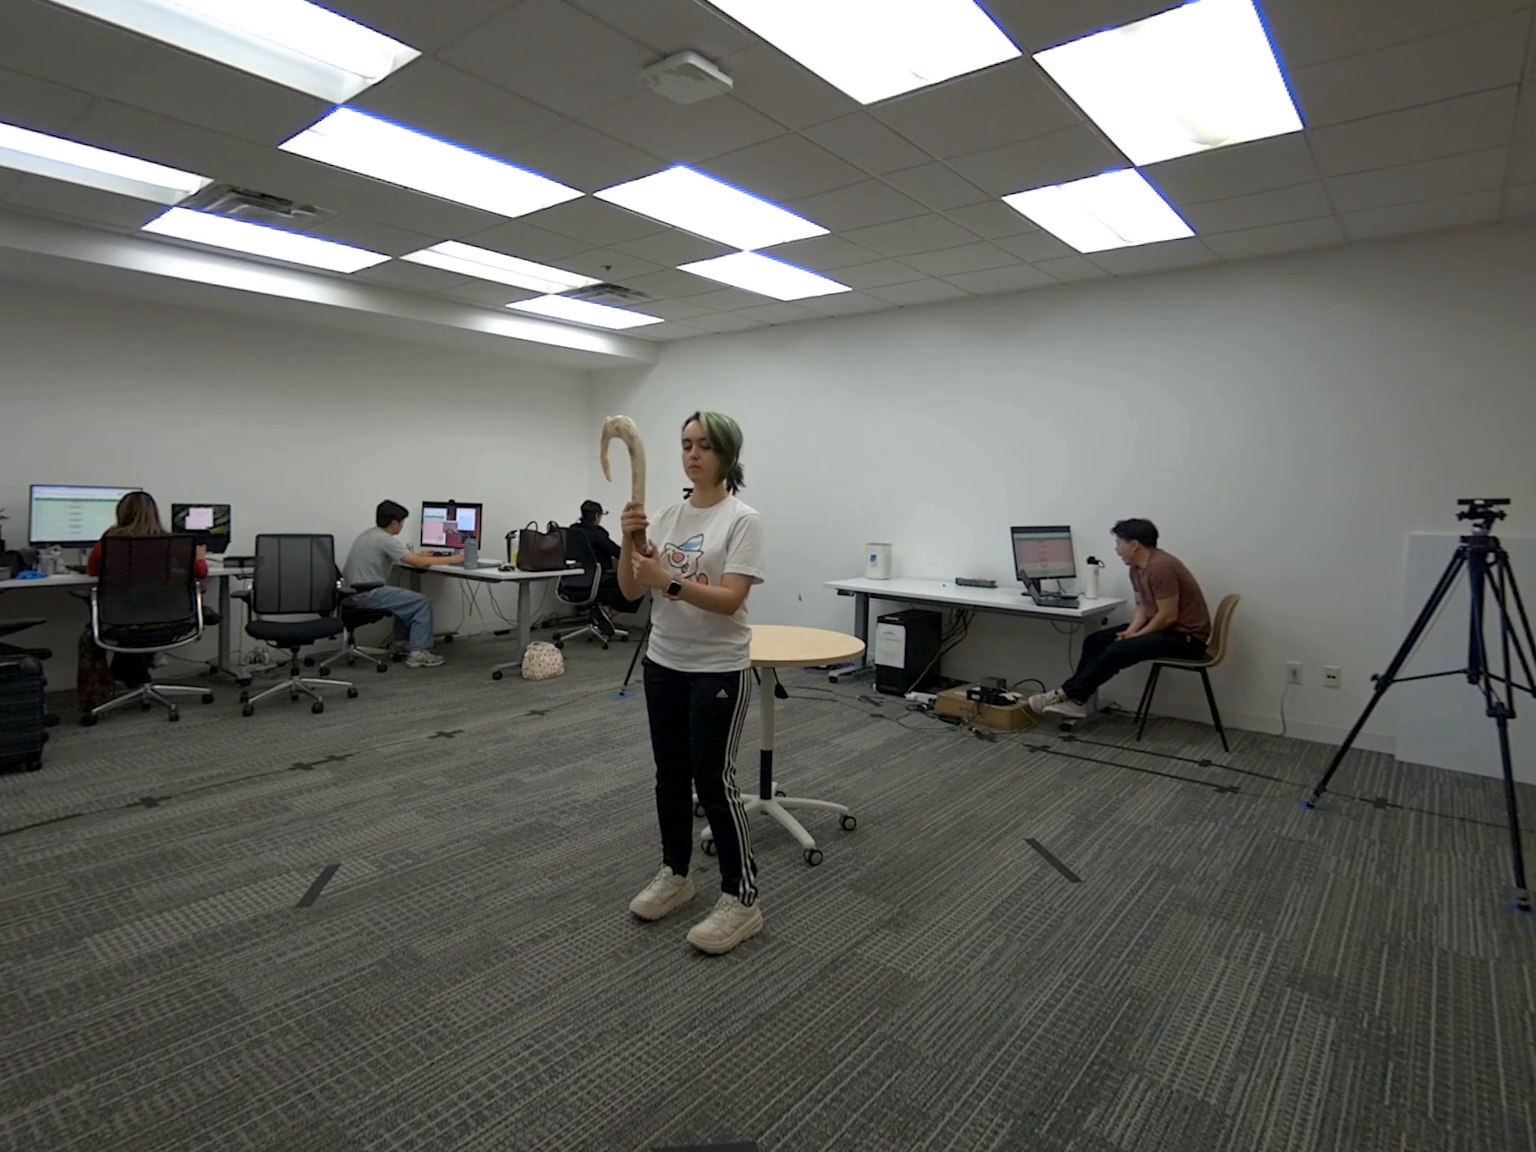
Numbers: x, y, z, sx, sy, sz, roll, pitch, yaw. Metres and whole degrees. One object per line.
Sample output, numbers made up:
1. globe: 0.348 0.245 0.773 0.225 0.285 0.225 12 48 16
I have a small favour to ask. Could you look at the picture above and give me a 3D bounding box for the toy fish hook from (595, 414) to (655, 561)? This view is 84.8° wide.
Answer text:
1. toy fish hook: -0.416 -0.225 2.527 0.047 0.501 0.231 -13 10 -28
